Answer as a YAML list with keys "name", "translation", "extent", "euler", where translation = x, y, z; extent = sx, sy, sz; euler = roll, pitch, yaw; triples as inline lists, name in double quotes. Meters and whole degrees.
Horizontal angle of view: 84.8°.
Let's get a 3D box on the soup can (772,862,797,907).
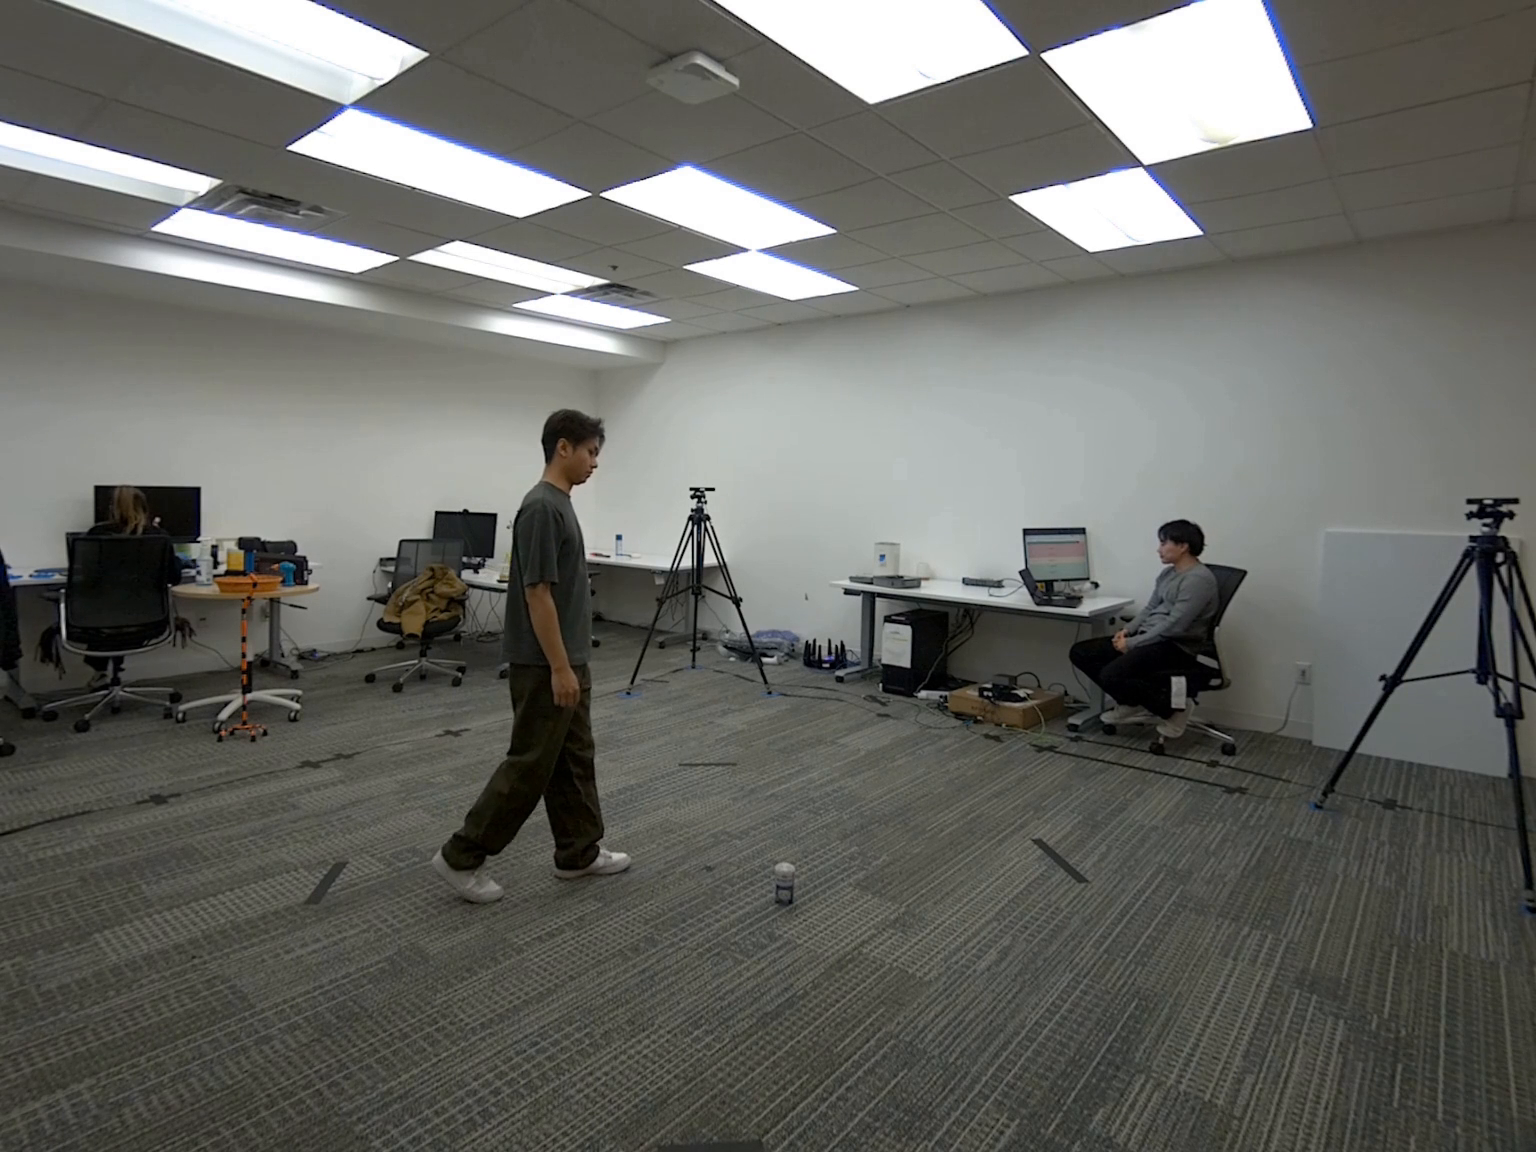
- name: "soup can"
  translation: [0.045, 1.040, 2.864]
  extent: [0.067, 0.121, 0.067]
  euler: [-1, 3, -2]
